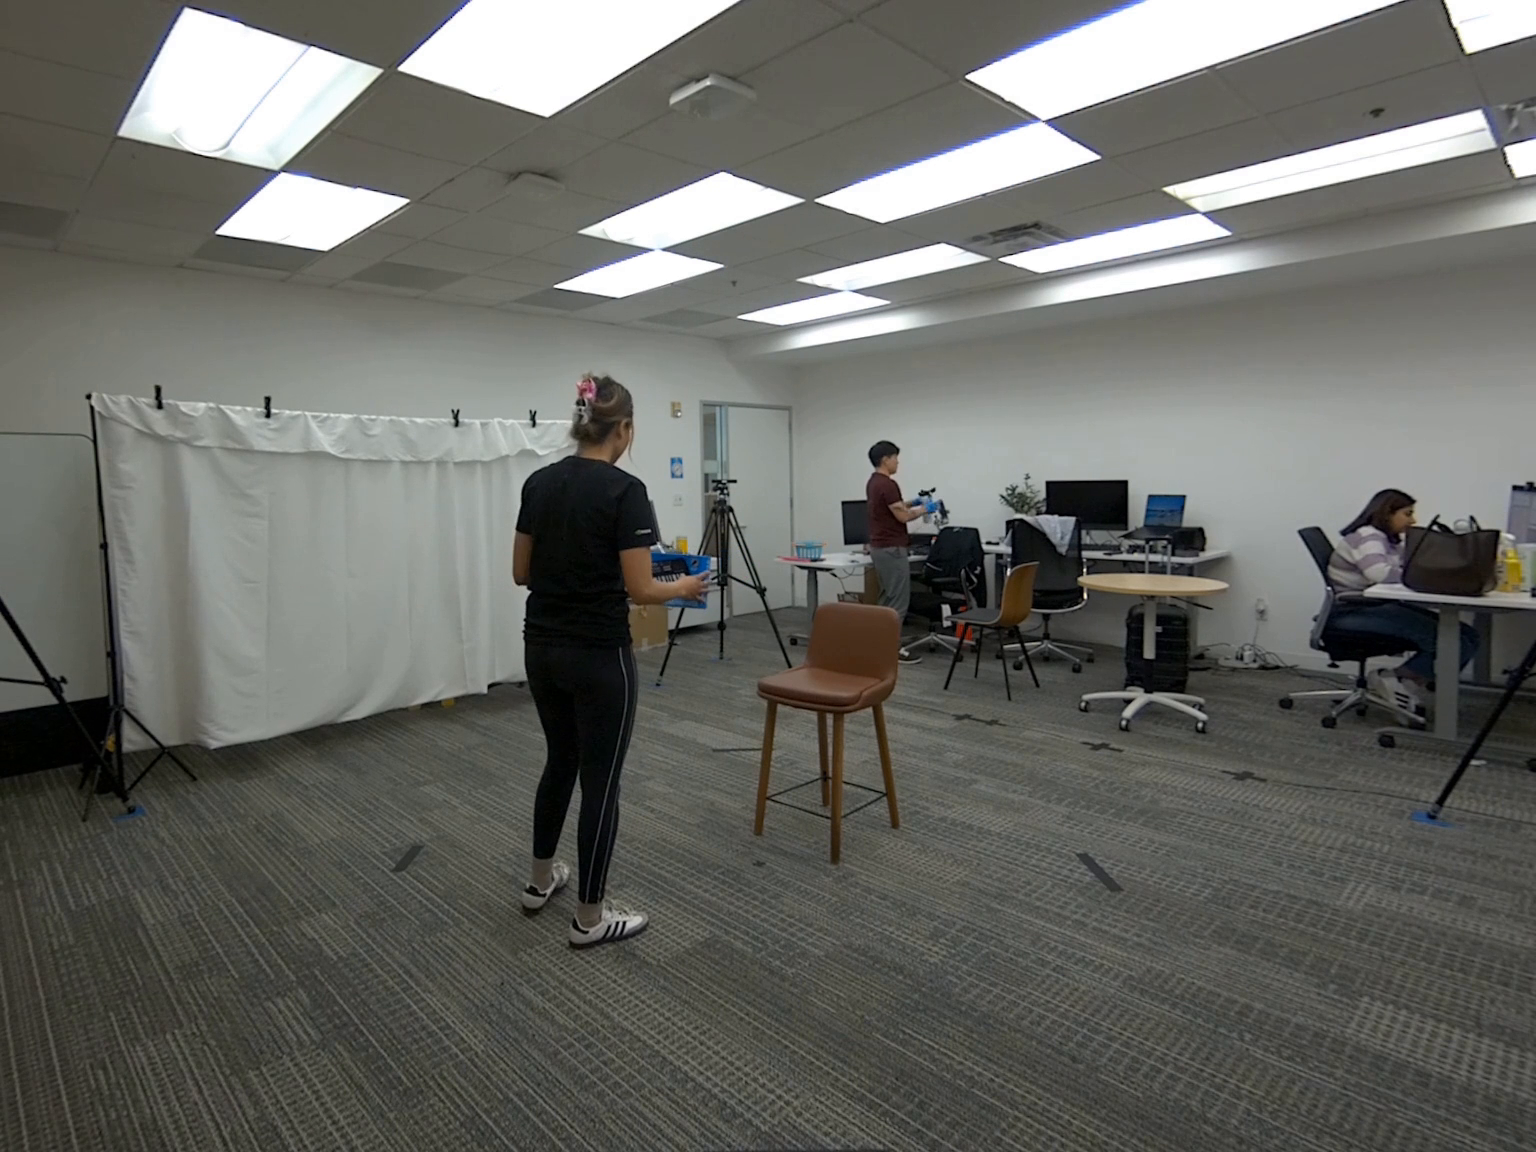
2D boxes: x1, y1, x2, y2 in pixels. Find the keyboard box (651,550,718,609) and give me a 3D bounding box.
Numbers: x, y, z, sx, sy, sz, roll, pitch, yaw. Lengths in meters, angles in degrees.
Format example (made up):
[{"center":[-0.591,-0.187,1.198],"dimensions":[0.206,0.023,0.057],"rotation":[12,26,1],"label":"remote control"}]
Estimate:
[{"center":[-0.399,0.007,2.889],"dimensions":[0.448,0.176,0.057],"rotation":[3,-3,29],"label":"keyboard box"}]
